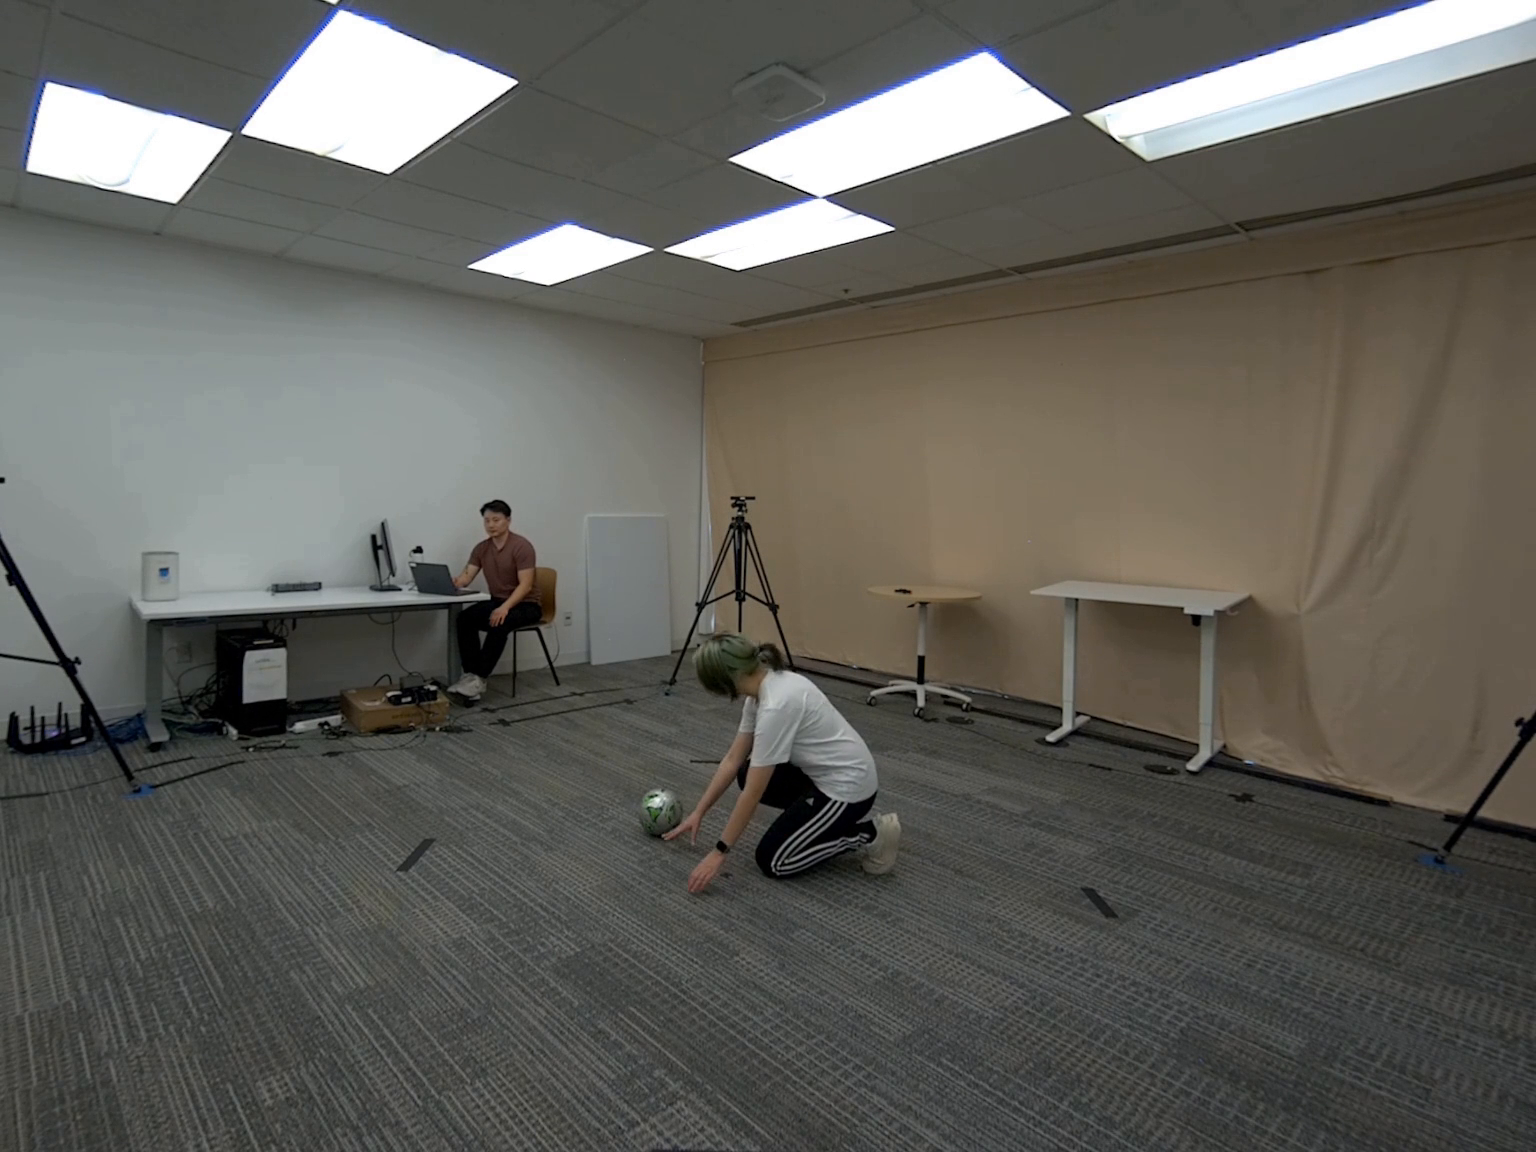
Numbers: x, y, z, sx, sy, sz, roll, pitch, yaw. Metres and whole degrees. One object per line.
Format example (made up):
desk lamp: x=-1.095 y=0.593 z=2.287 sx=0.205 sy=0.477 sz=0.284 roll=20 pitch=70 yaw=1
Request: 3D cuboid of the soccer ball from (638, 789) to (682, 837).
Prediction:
soccer ball: x=-0.443 y=0.963 z=3.467 sx=0.187 sy=0.187 sz=0.188 roll=1 pitch=4 yaw=-1
